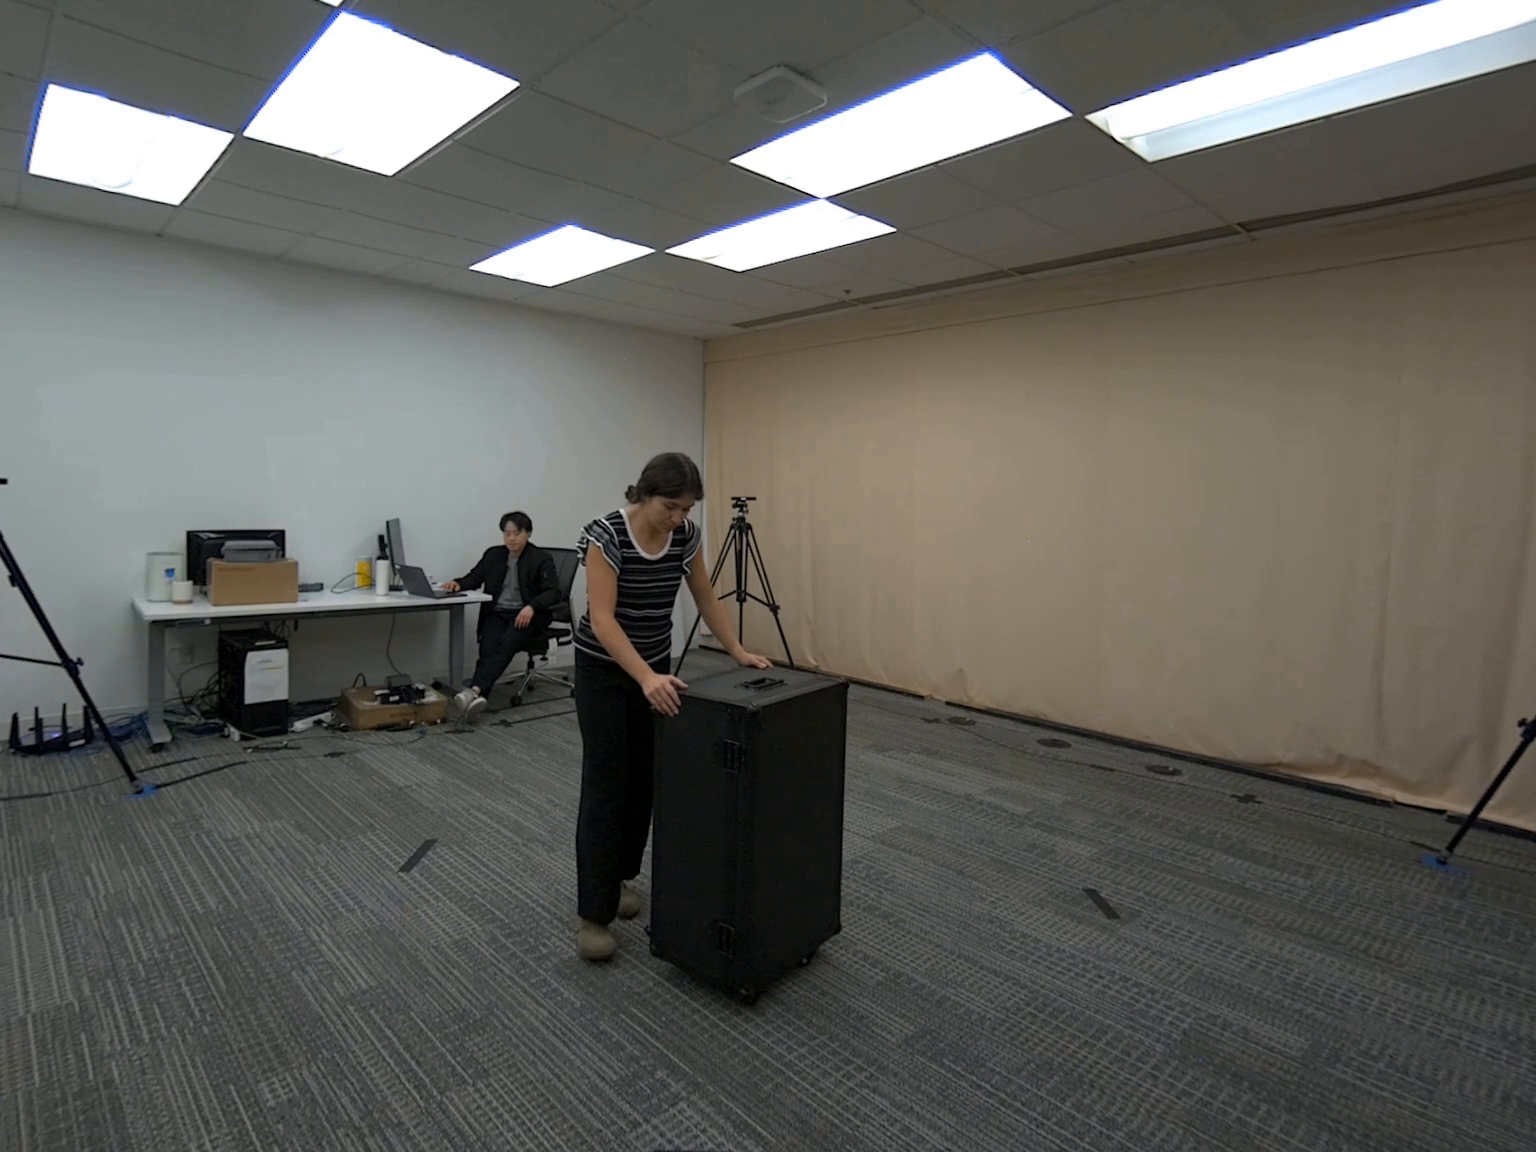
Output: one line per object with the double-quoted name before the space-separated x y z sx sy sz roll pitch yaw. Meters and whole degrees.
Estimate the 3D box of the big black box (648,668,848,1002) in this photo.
"big black box" -0.067 0.741 2.490 0.406 0.860 0.510 3 3 36
